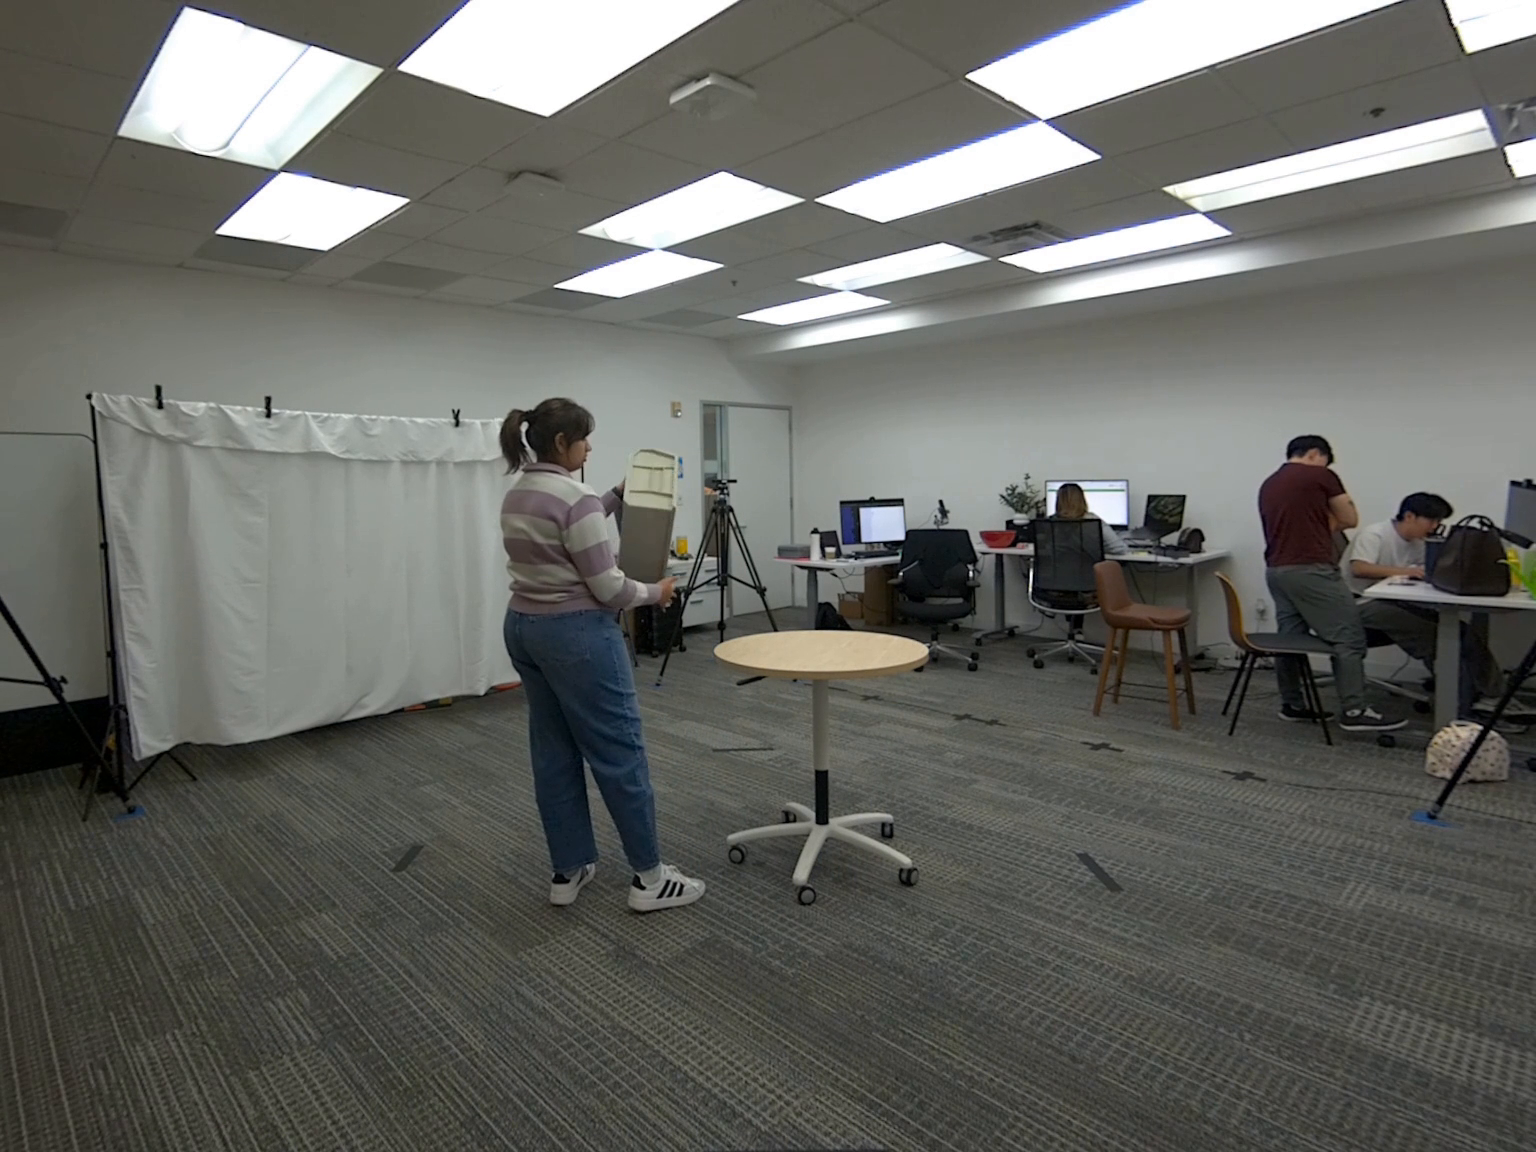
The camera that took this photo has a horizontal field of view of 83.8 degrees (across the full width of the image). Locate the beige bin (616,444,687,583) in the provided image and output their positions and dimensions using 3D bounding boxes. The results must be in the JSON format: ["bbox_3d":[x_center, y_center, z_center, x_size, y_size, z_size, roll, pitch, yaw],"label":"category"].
[{"bbox_3d":[-0.437,-0.192,3.128,0.187,0.414,0.387,9,36,-8],"label":"beige bin"}]
